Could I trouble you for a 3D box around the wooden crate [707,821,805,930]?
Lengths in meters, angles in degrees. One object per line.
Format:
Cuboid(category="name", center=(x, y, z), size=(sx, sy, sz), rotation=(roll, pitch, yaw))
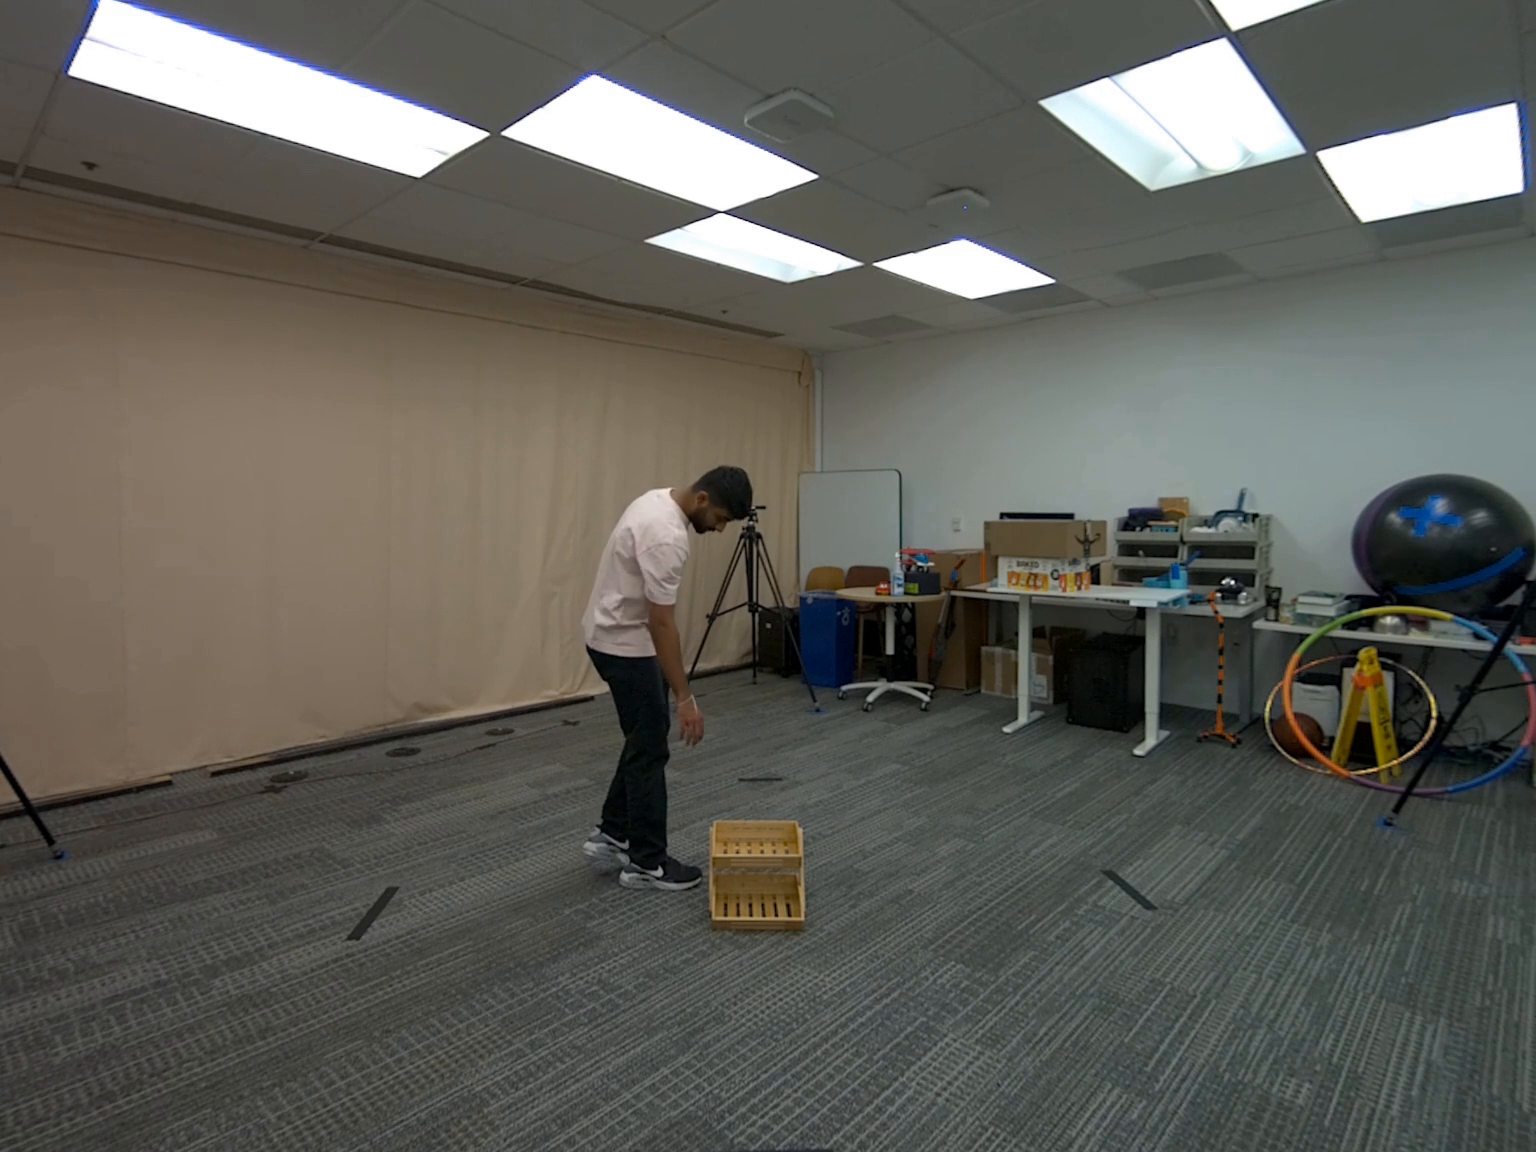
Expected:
Cuboid(category="wooden crate", center=(-0.032, 1.023, 2.874), size=(0.324, 0.273, 0.303), rotation=(0, 4, -1))
